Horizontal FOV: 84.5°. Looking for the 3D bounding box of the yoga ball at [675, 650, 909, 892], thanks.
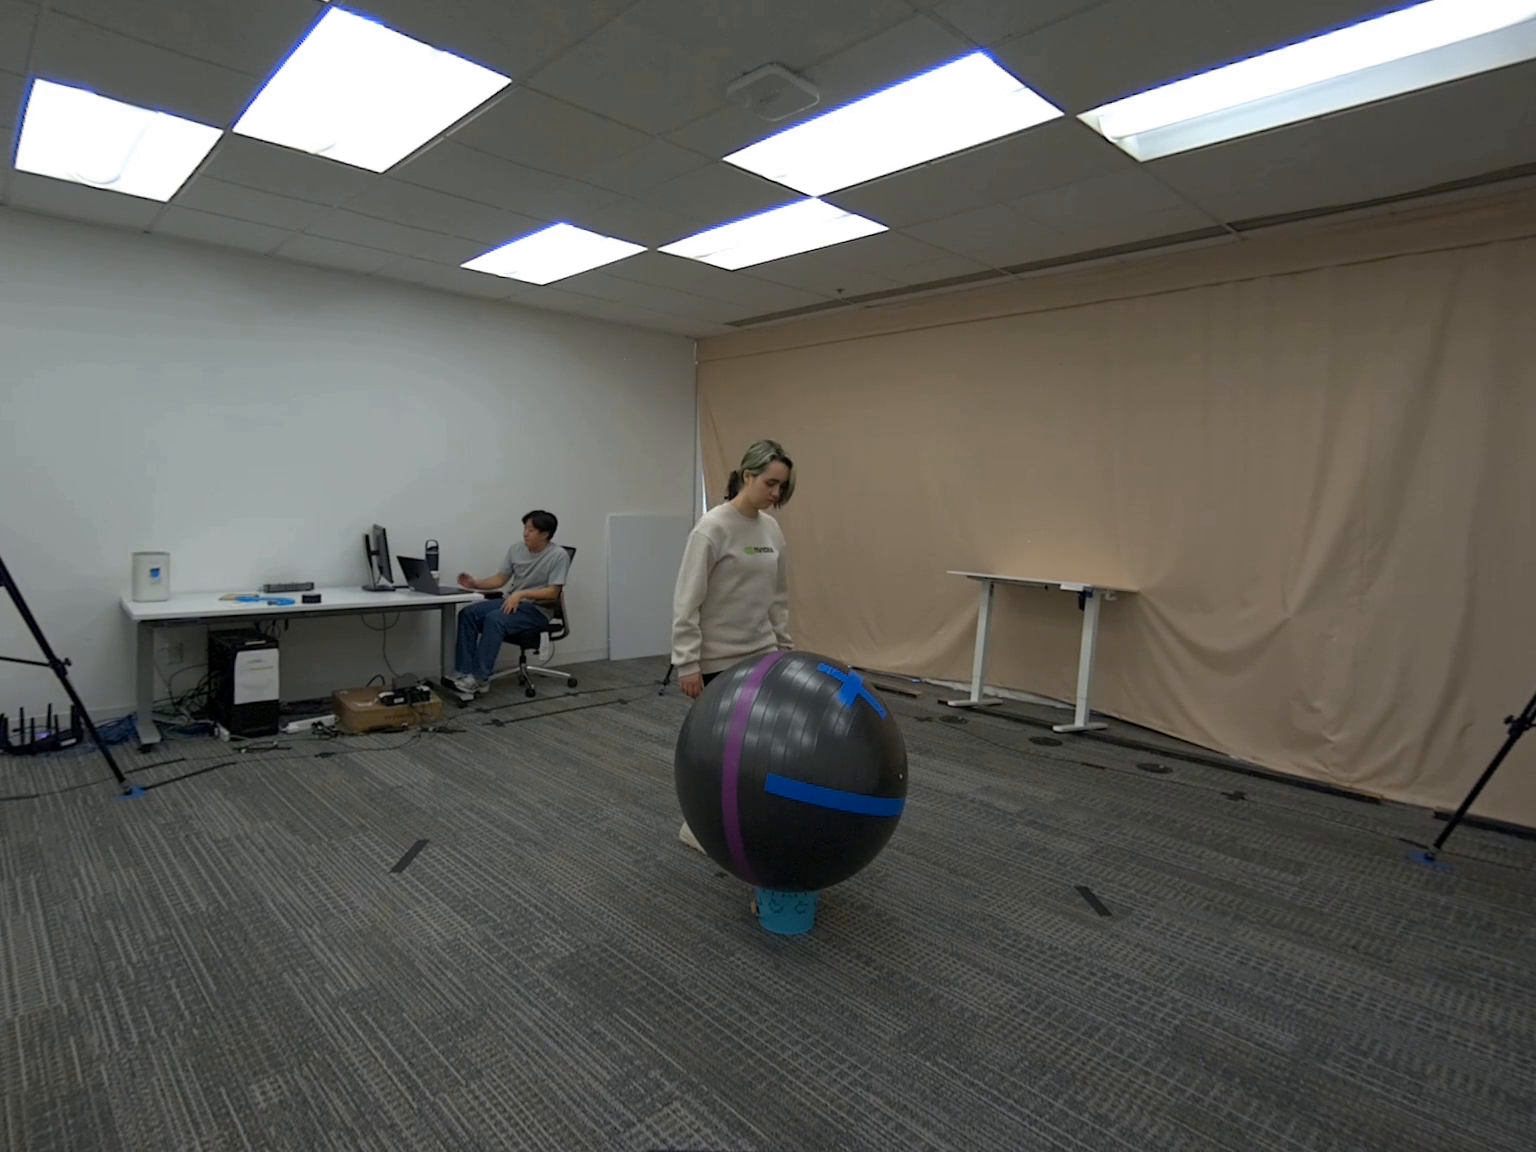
[{"bbox_3d":[0.067,0.627,2.754,0.757,0.756,0.761,1,4,-1],"label":"yoga ball"}]
